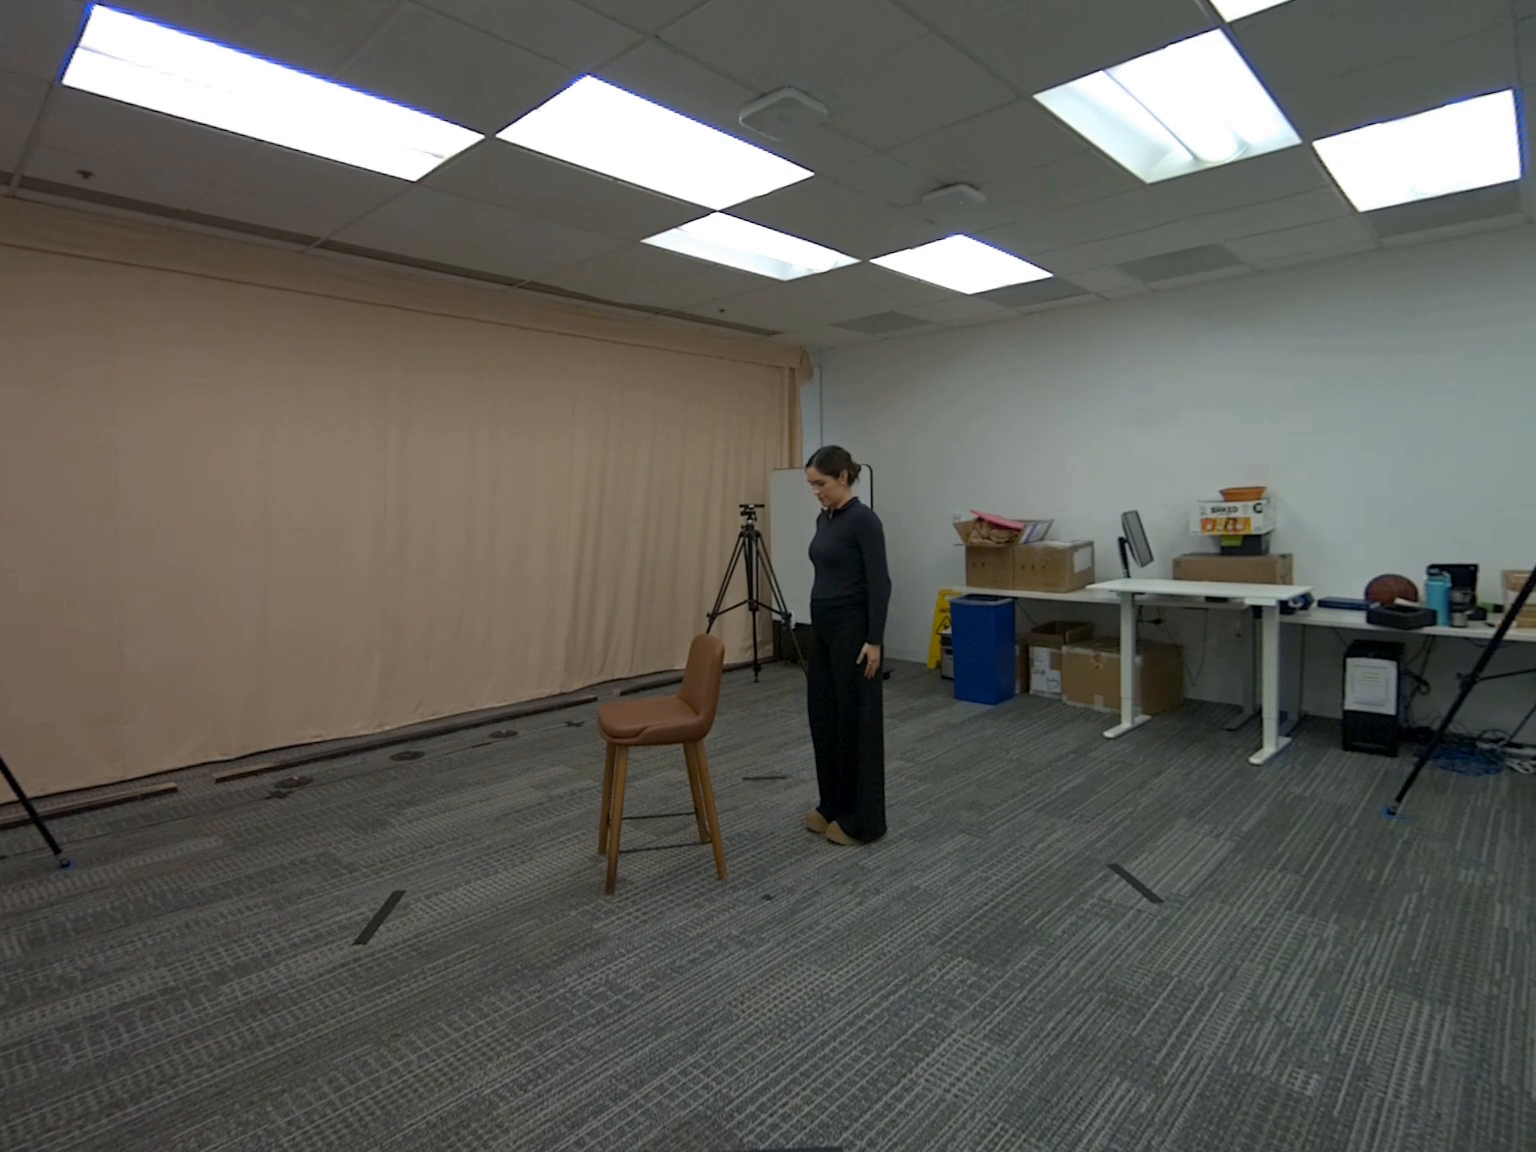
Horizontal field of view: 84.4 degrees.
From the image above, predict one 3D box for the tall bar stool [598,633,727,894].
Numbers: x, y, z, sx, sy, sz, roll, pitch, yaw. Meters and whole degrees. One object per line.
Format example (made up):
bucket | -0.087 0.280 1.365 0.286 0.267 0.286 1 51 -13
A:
tall bar stool | -0.414 0.685 3.243 0.461 0.888 0.464 0 3 -14
